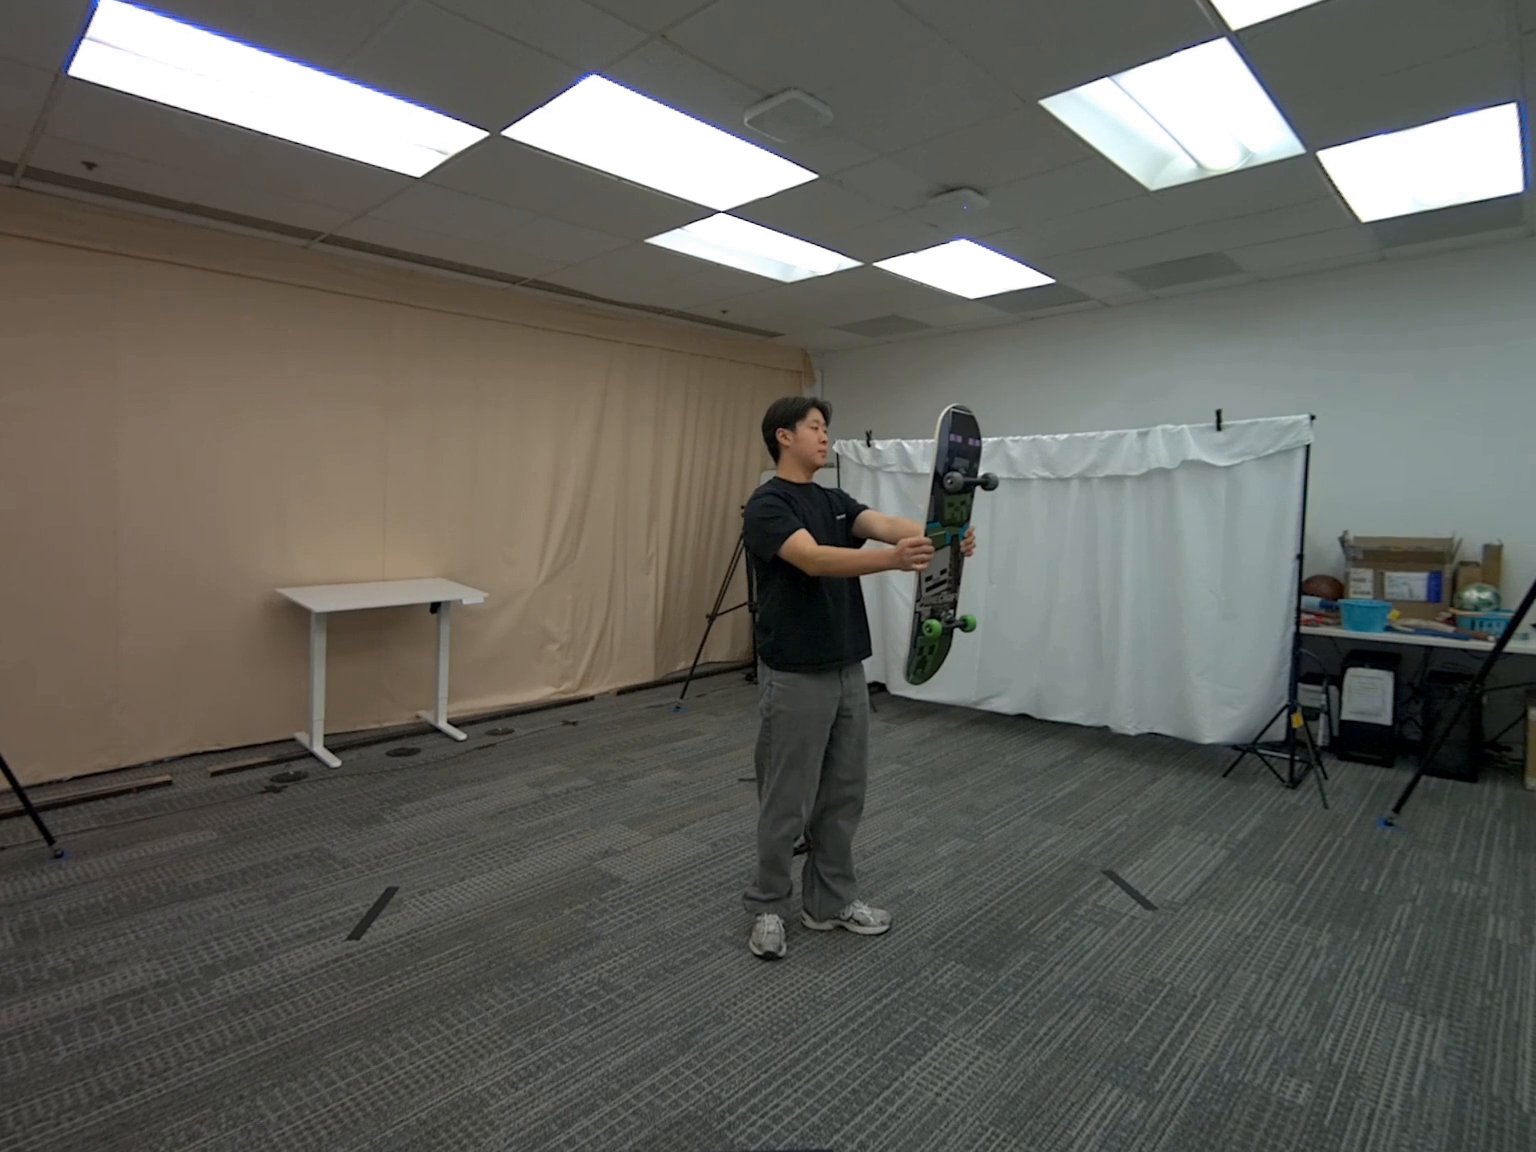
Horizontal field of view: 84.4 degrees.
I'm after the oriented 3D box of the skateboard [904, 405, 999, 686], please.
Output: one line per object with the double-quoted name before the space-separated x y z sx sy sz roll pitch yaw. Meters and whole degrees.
"skateboard" 0.499 -0.059 2.289 0.188 0.780 0.114 -4 15 -38
